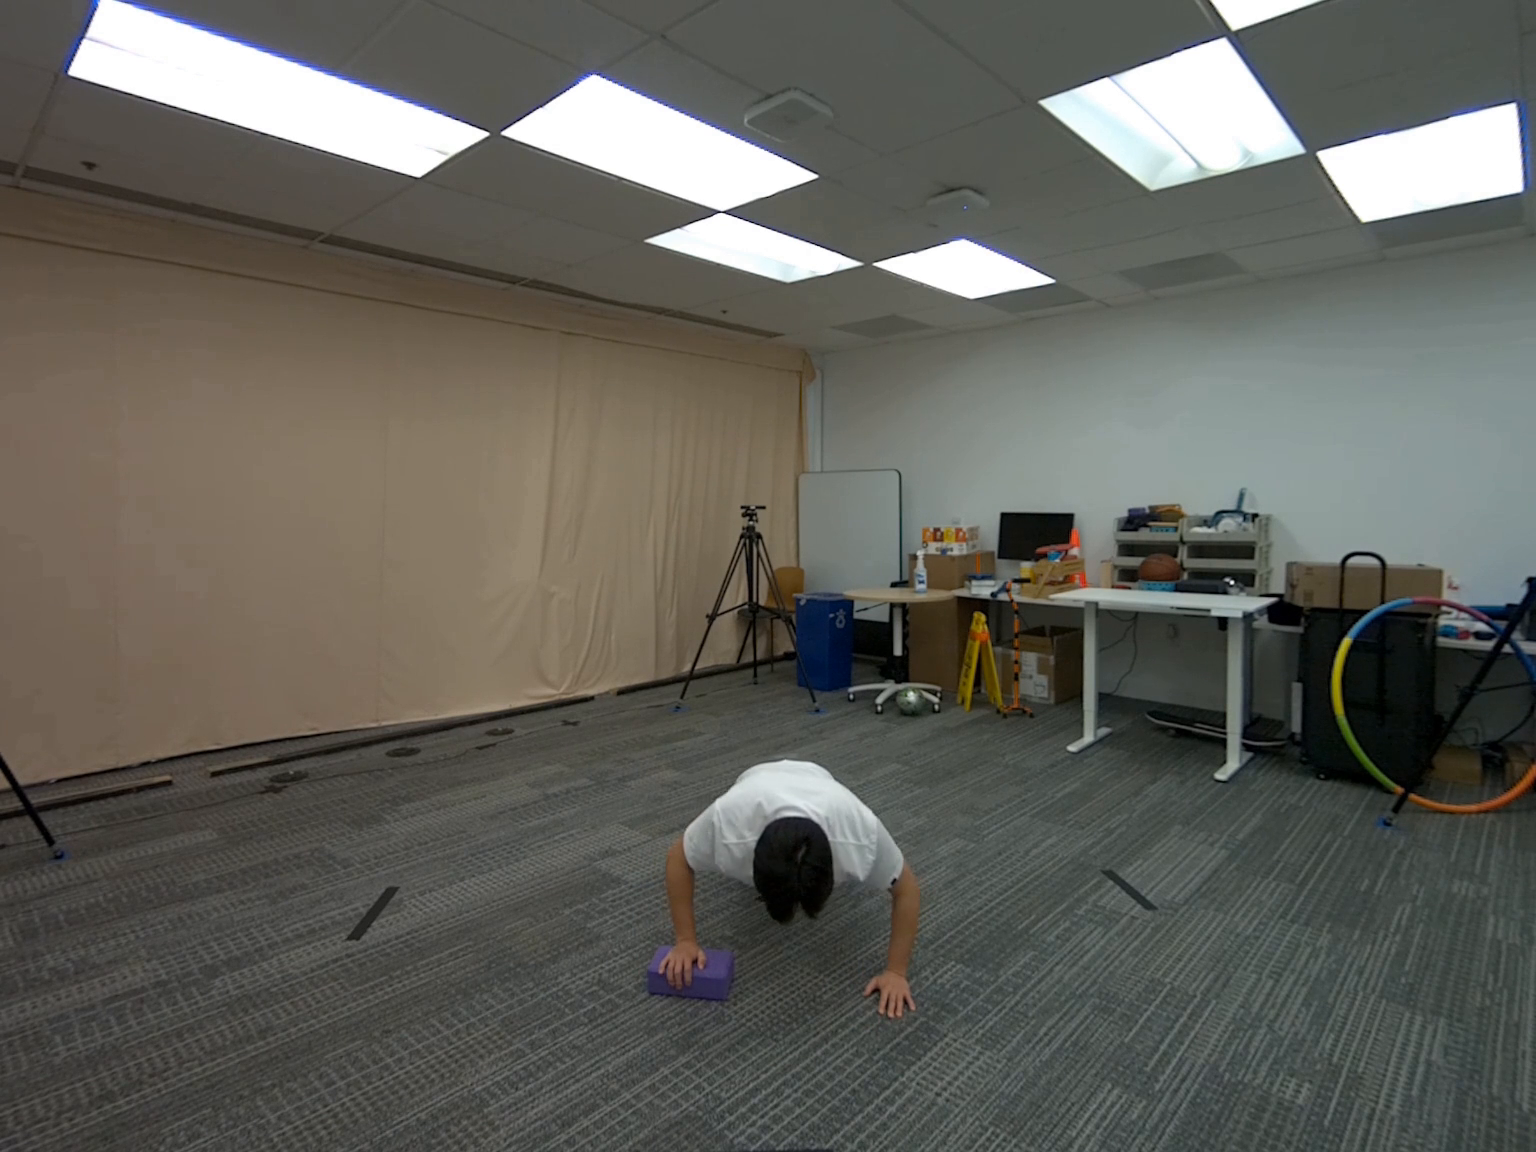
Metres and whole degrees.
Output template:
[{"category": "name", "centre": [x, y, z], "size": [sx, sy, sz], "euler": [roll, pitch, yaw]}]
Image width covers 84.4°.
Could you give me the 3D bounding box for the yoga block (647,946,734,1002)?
[{"category": "yoga block", "centre": [-0.221, 1.157, 2.445], "size": [0.232, 0.076, 0.147], "euler": [1, 3, 11]}]
